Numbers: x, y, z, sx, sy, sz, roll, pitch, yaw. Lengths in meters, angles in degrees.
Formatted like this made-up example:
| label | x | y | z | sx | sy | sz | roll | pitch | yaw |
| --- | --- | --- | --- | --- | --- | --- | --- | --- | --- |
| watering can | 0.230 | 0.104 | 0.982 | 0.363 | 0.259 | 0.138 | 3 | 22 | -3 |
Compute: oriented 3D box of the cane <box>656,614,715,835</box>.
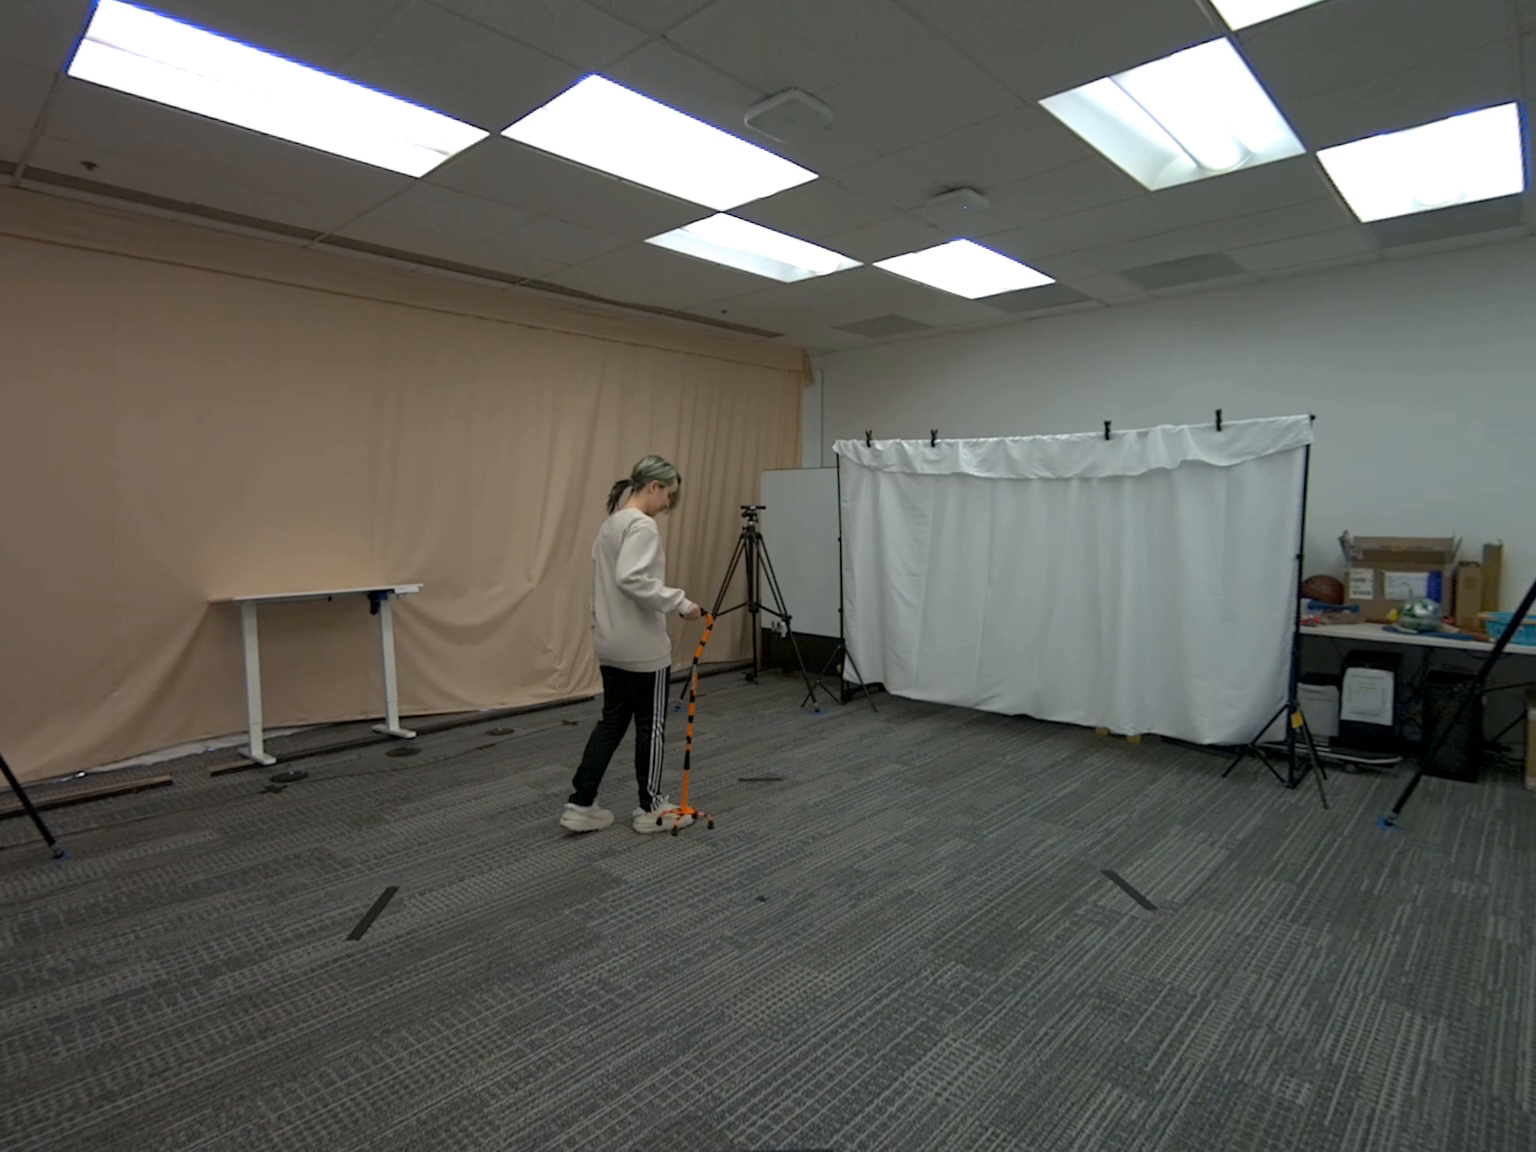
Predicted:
| label | x | y | z | sx | sy | sz | roll | pitch | yaw |
| --- | --- | --- | --- | --- | --- | --- | --- | --- | --- |
| cane | -0.300 | 0.594 | 3.460 | 0.200 | 0.906 | 0.157 | 3 | 4 | -41 |
